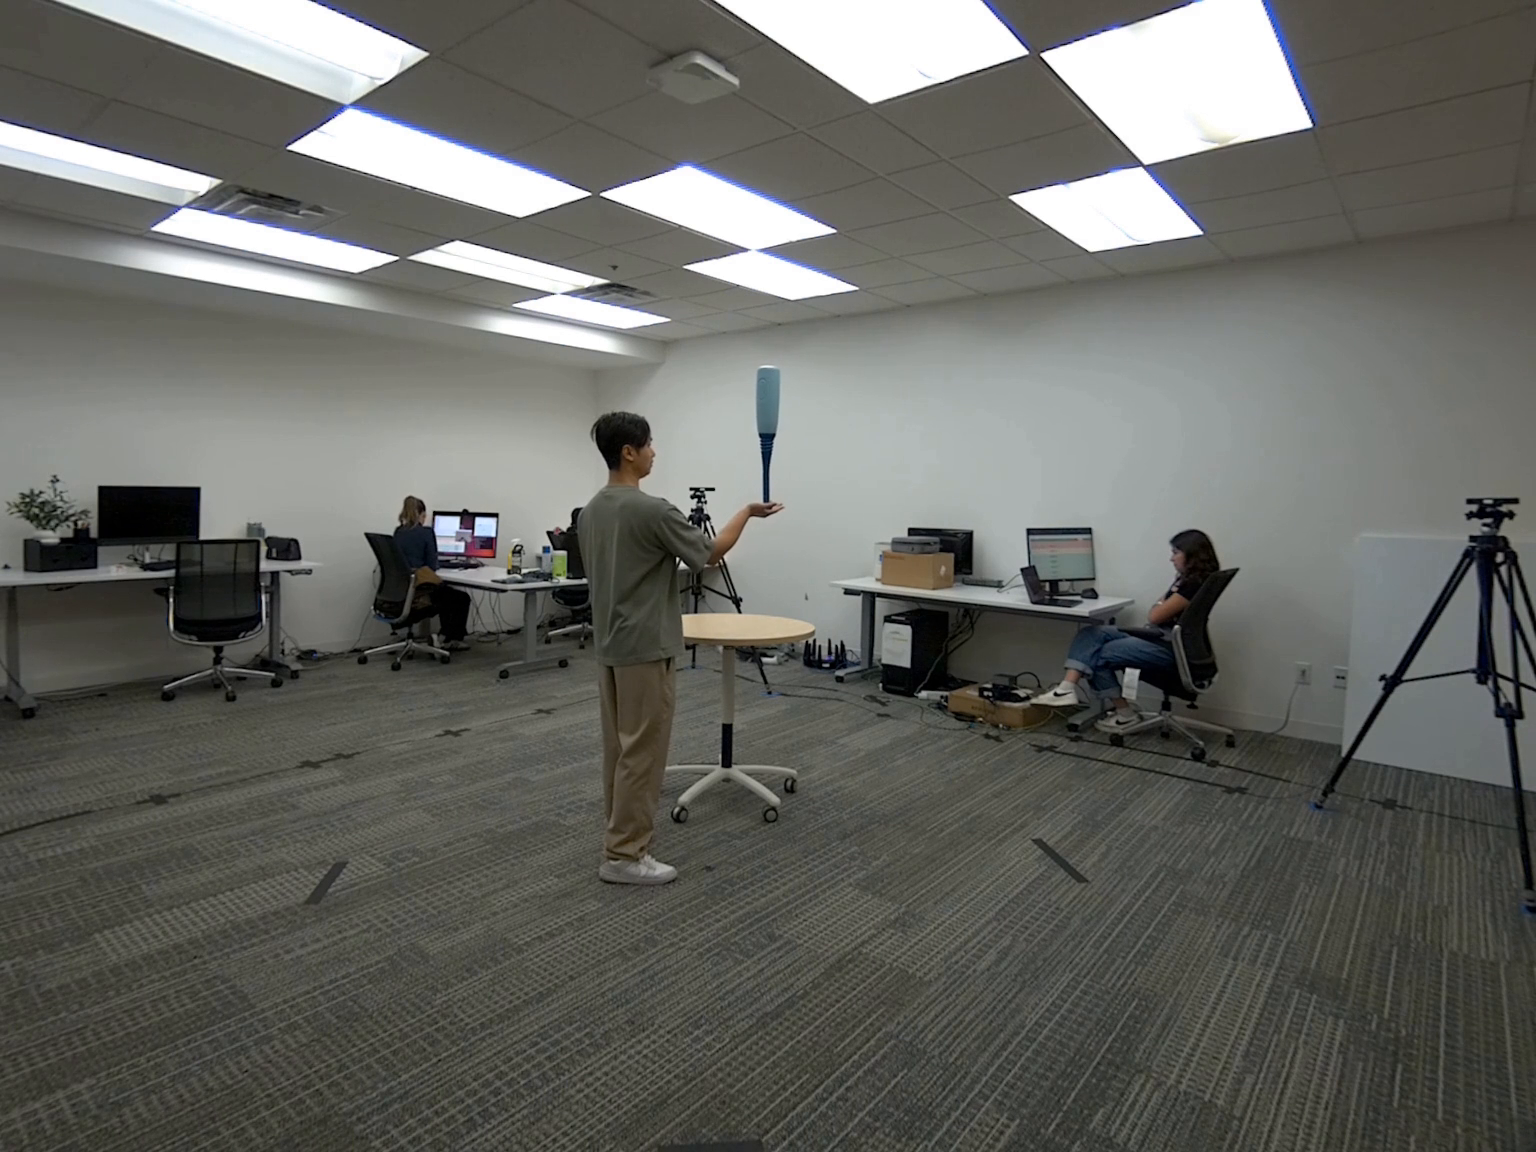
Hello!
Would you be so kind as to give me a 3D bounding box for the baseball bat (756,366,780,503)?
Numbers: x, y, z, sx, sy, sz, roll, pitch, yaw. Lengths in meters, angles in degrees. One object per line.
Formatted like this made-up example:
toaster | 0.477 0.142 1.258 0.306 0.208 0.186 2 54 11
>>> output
baseball bat | -0.017 -0.527 3.234 0.089 0.539 0.090 2 7 -2
